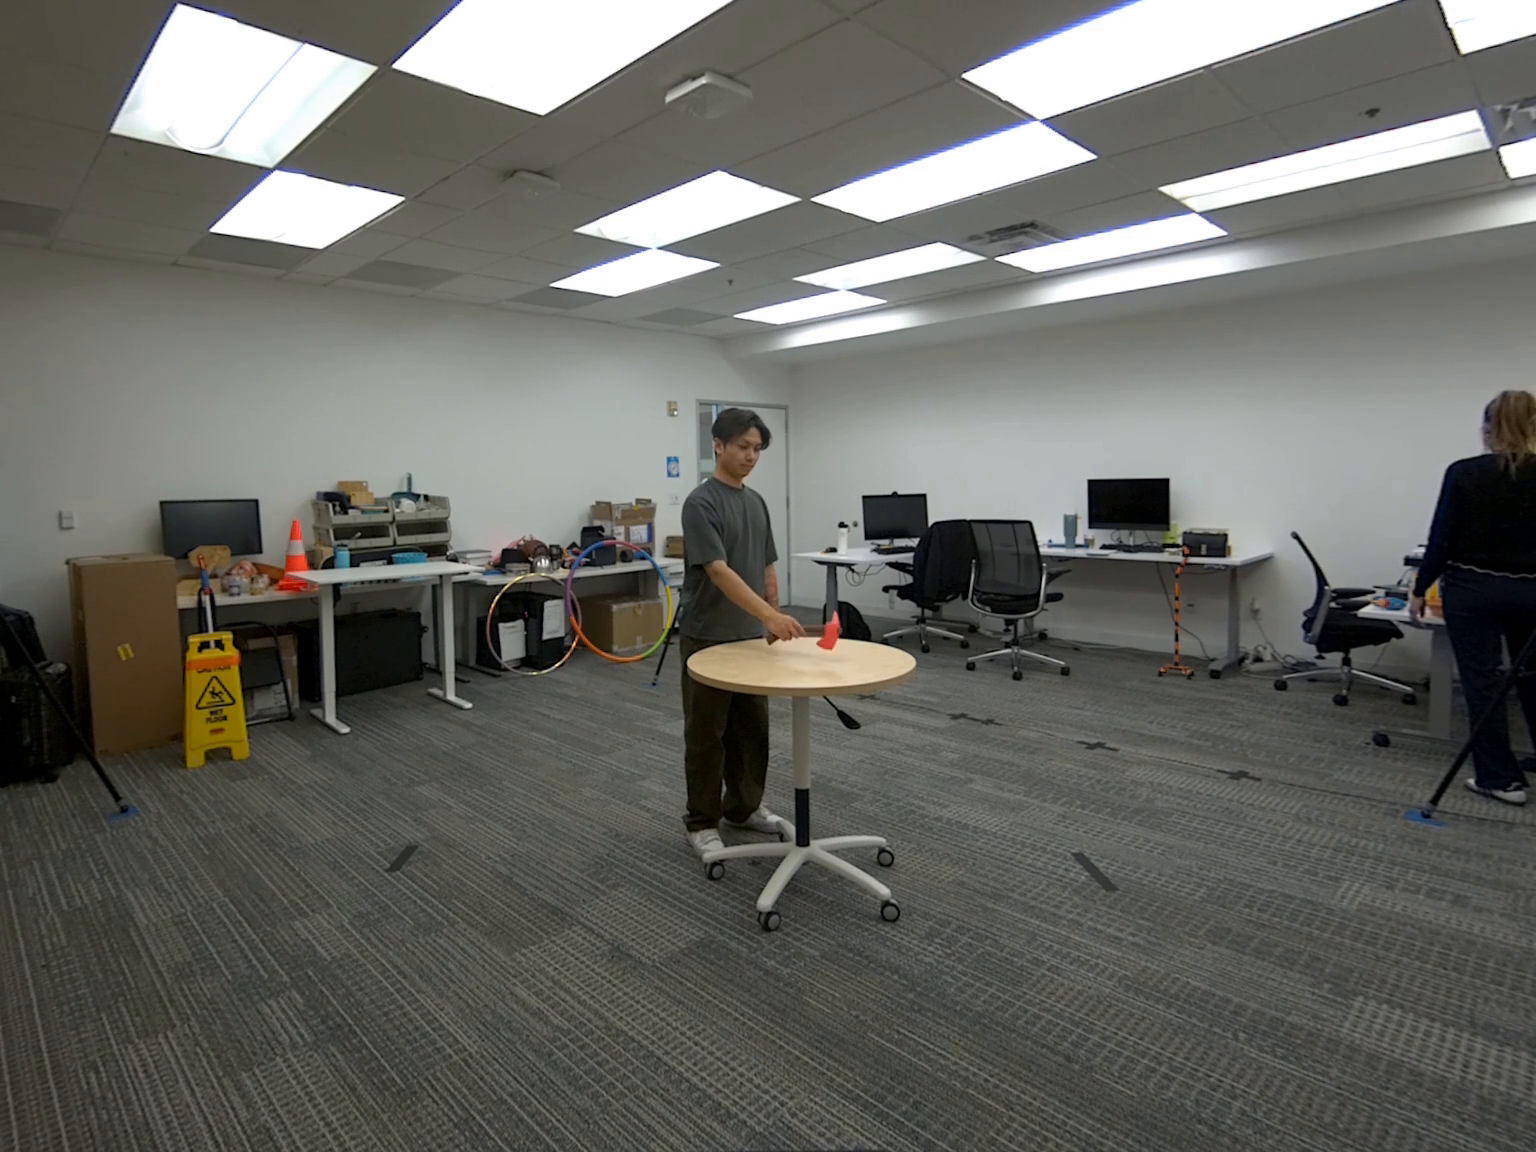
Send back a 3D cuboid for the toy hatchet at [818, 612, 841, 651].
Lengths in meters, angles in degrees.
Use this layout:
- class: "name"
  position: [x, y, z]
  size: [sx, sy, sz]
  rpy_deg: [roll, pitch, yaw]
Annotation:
- class: "toy hatchet"
  position: [0.125, 0.204, 2.884]
  size: [0.273, 0.134, 0.028]
  rpy_deg: [-19, -33, 20]
